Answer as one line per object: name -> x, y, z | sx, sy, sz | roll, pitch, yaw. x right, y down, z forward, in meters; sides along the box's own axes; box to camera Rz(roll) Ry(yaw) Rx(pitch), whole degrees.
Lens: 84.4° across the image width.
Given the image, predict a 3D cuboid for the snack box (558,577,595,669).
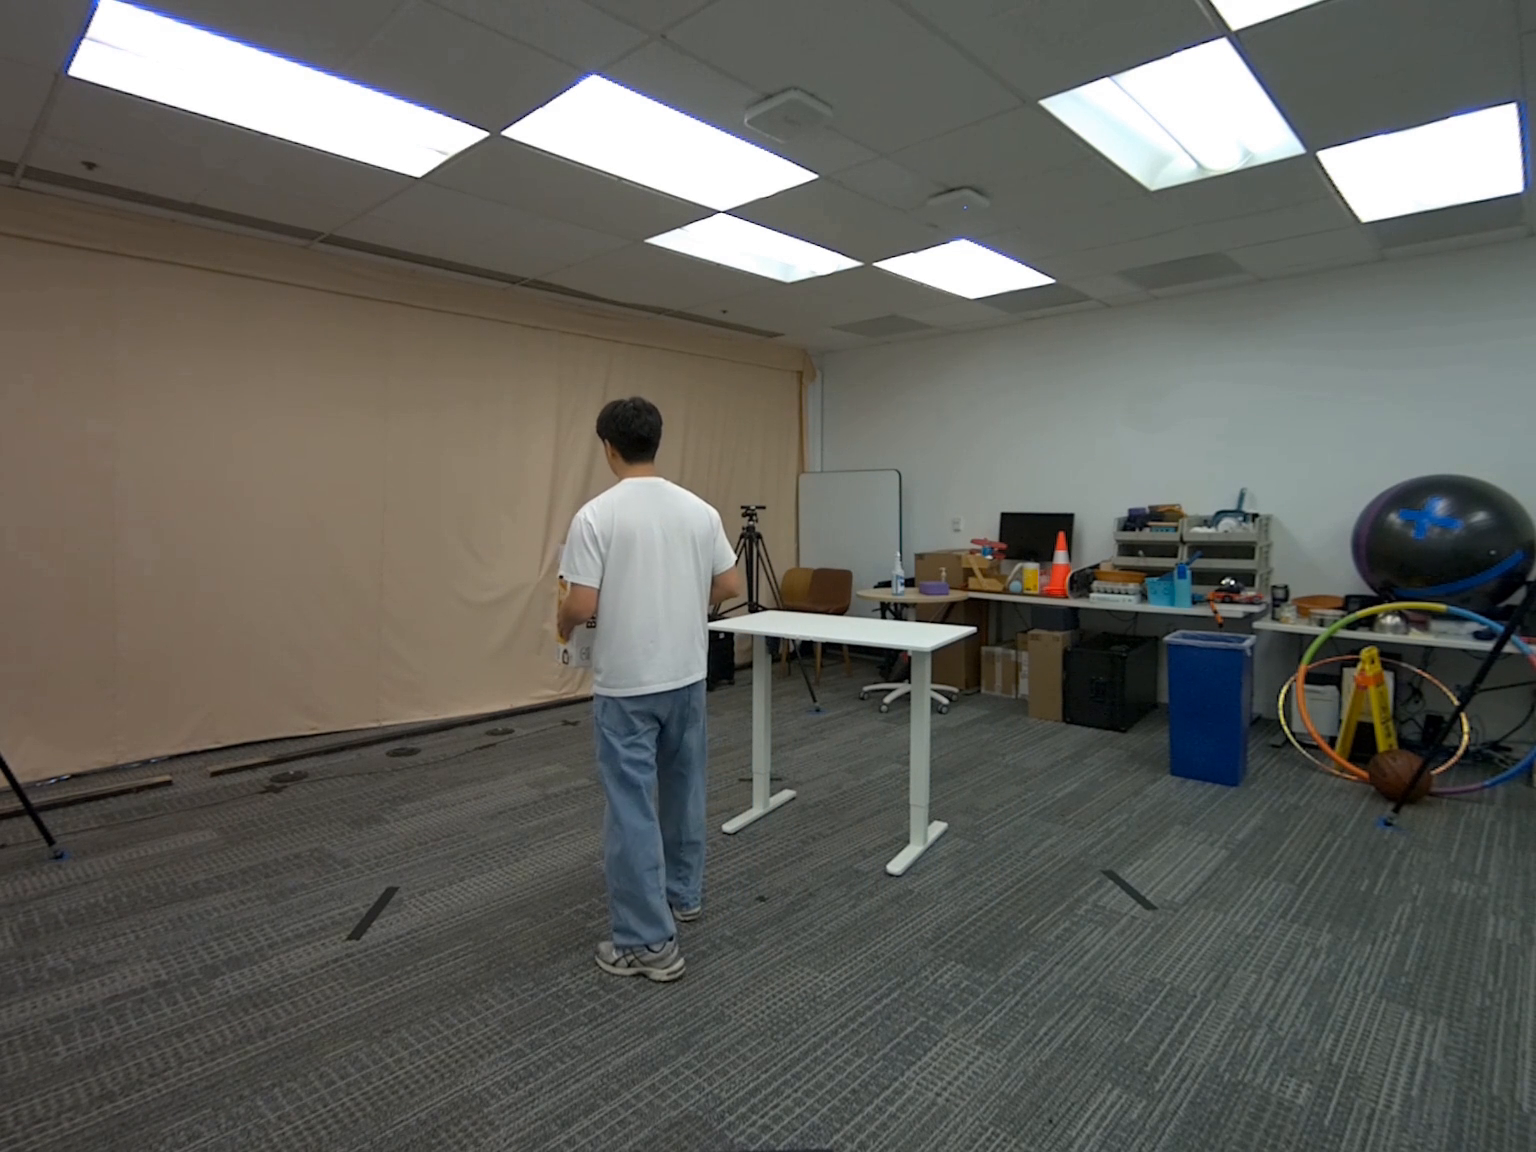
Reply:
snack box -> -0.549, 0.098, 2.945 | 0.331, 0.405, 0.212 | 1, 1, -31
